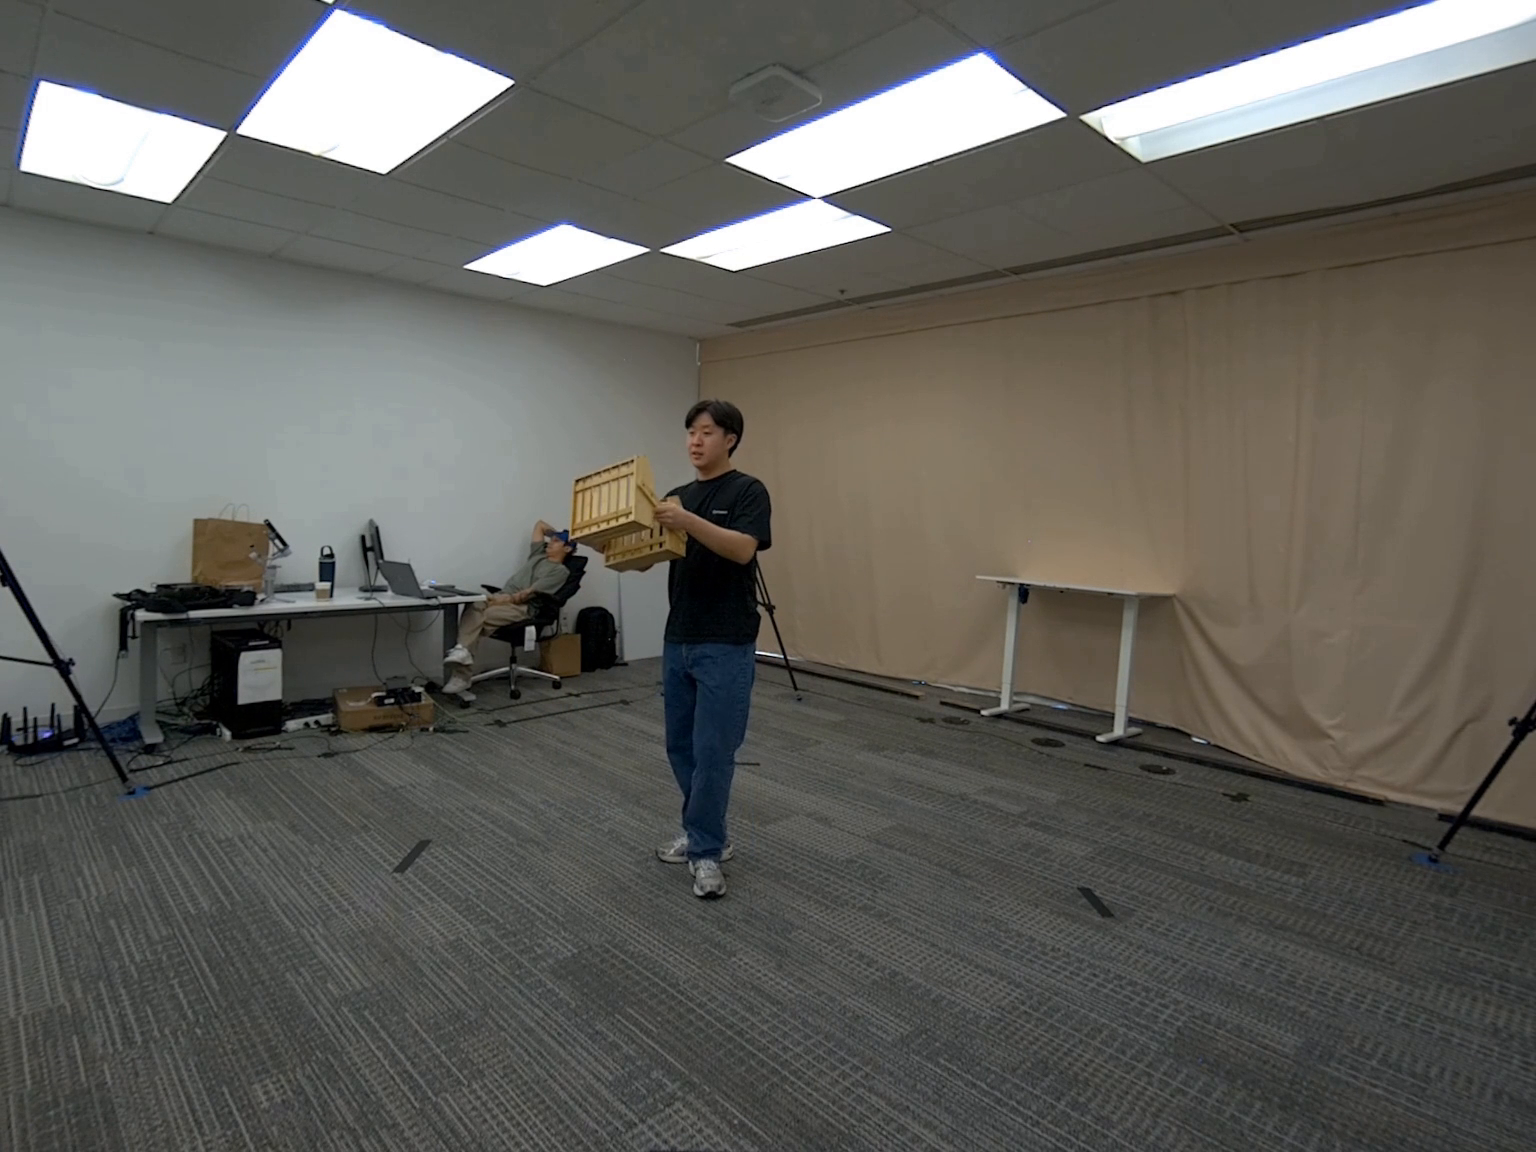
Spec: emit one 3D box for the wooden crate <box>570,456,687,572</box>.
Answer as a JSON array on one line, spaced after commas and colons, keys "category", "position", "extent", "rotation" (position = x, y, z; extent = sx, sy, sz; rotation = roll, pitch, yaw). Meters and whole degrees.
[{"category": "wooden crate", "position": [-0.483, -0.210, 2.904], "extent": [0.330, 0.306, 0.265], "rotation": [-13, -23, 32]}]
